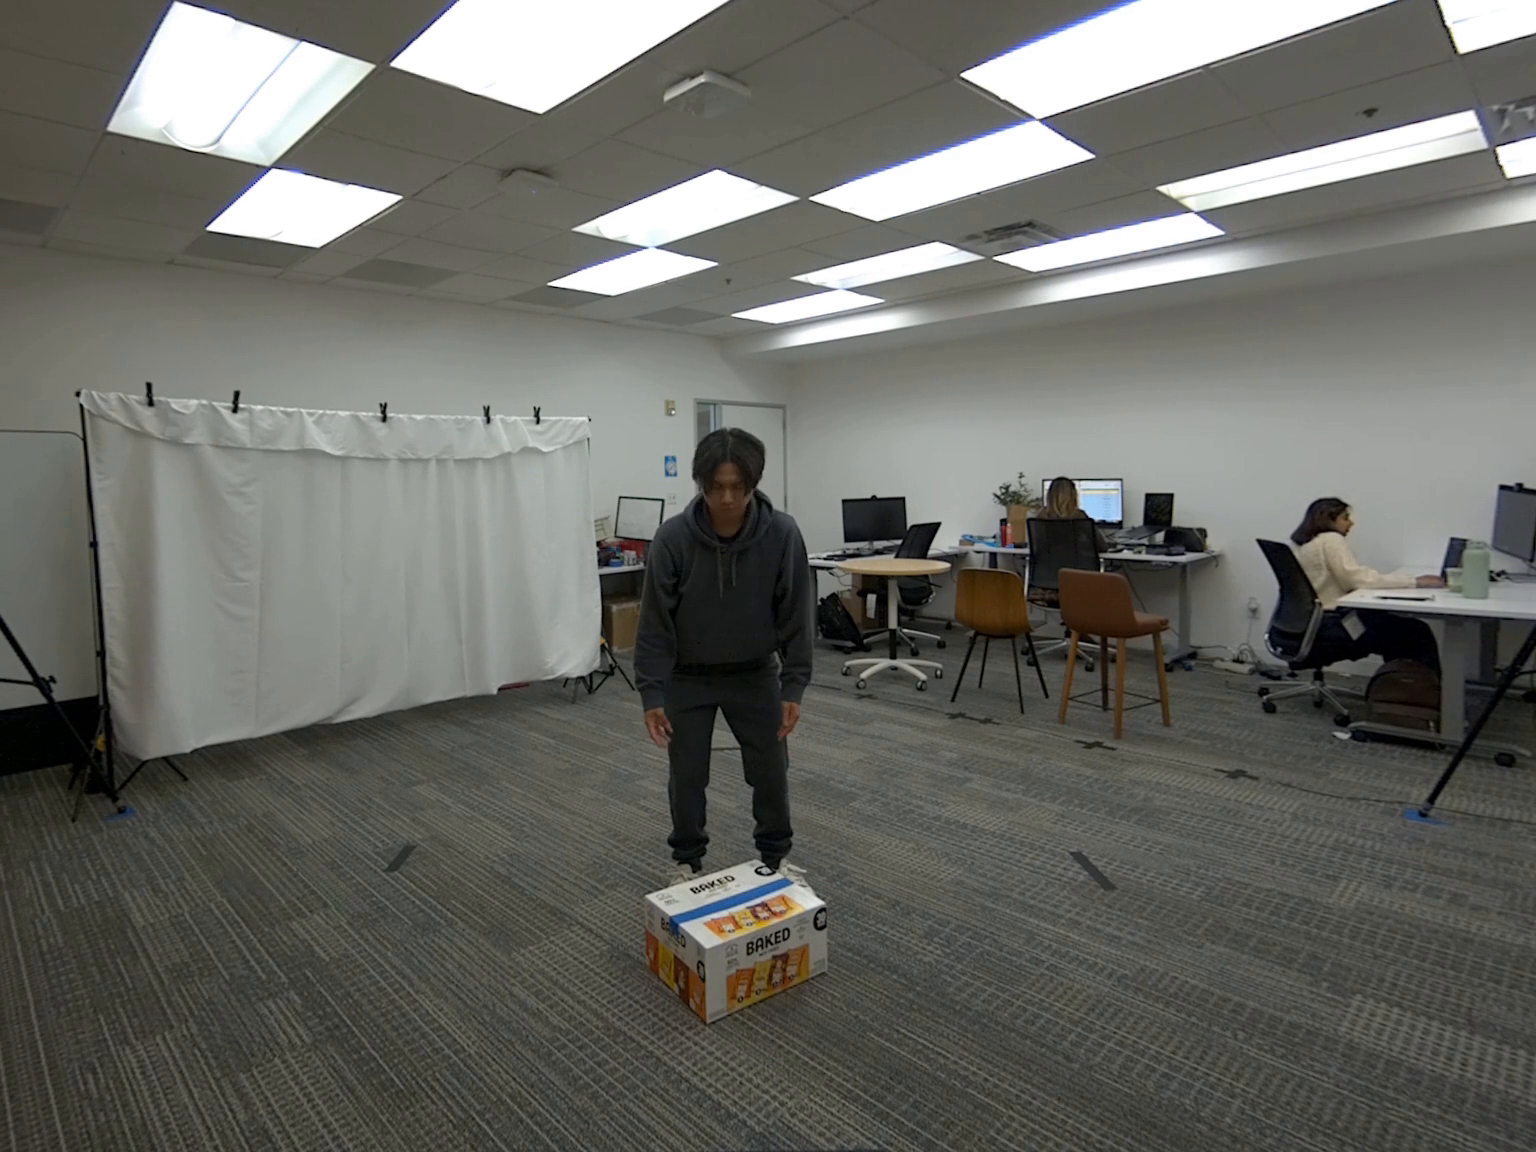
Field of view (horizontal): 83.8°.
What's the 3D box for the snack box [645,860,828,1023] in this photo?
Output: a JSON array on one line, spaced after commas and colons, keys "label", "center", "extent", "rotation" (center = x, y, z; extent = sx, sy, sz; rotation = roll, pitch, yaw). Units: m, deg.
[{"label": "snack box", "center": [-0.093, 1.017, 2.433], "extent": [0.395, 0.205, 0.350], "rotation": [-5, 7, -34]}]
